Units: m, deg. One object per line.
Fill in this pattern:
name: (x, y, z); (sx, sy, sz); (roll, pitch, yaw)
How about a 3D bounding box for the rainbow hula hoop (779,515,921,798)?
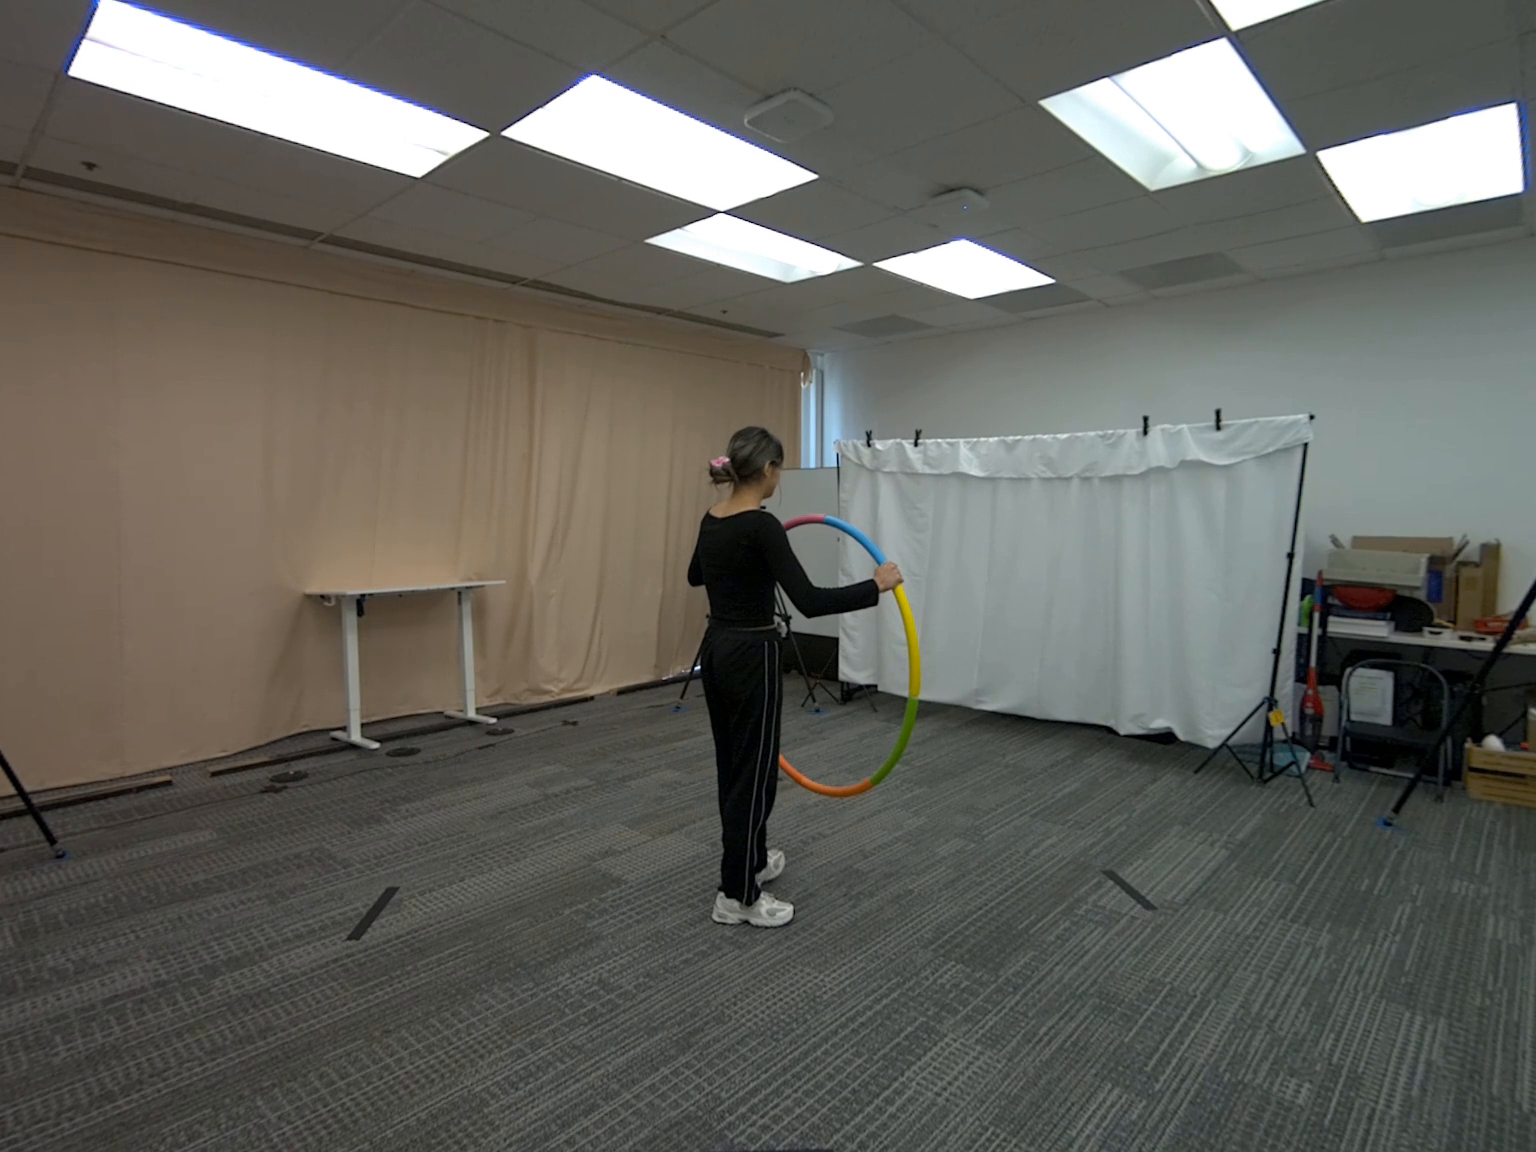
rainbow hula hoop: (0.174, 0.279, 3.002); (0.034, 0.976, 1.010); (-2, 4, -36)
